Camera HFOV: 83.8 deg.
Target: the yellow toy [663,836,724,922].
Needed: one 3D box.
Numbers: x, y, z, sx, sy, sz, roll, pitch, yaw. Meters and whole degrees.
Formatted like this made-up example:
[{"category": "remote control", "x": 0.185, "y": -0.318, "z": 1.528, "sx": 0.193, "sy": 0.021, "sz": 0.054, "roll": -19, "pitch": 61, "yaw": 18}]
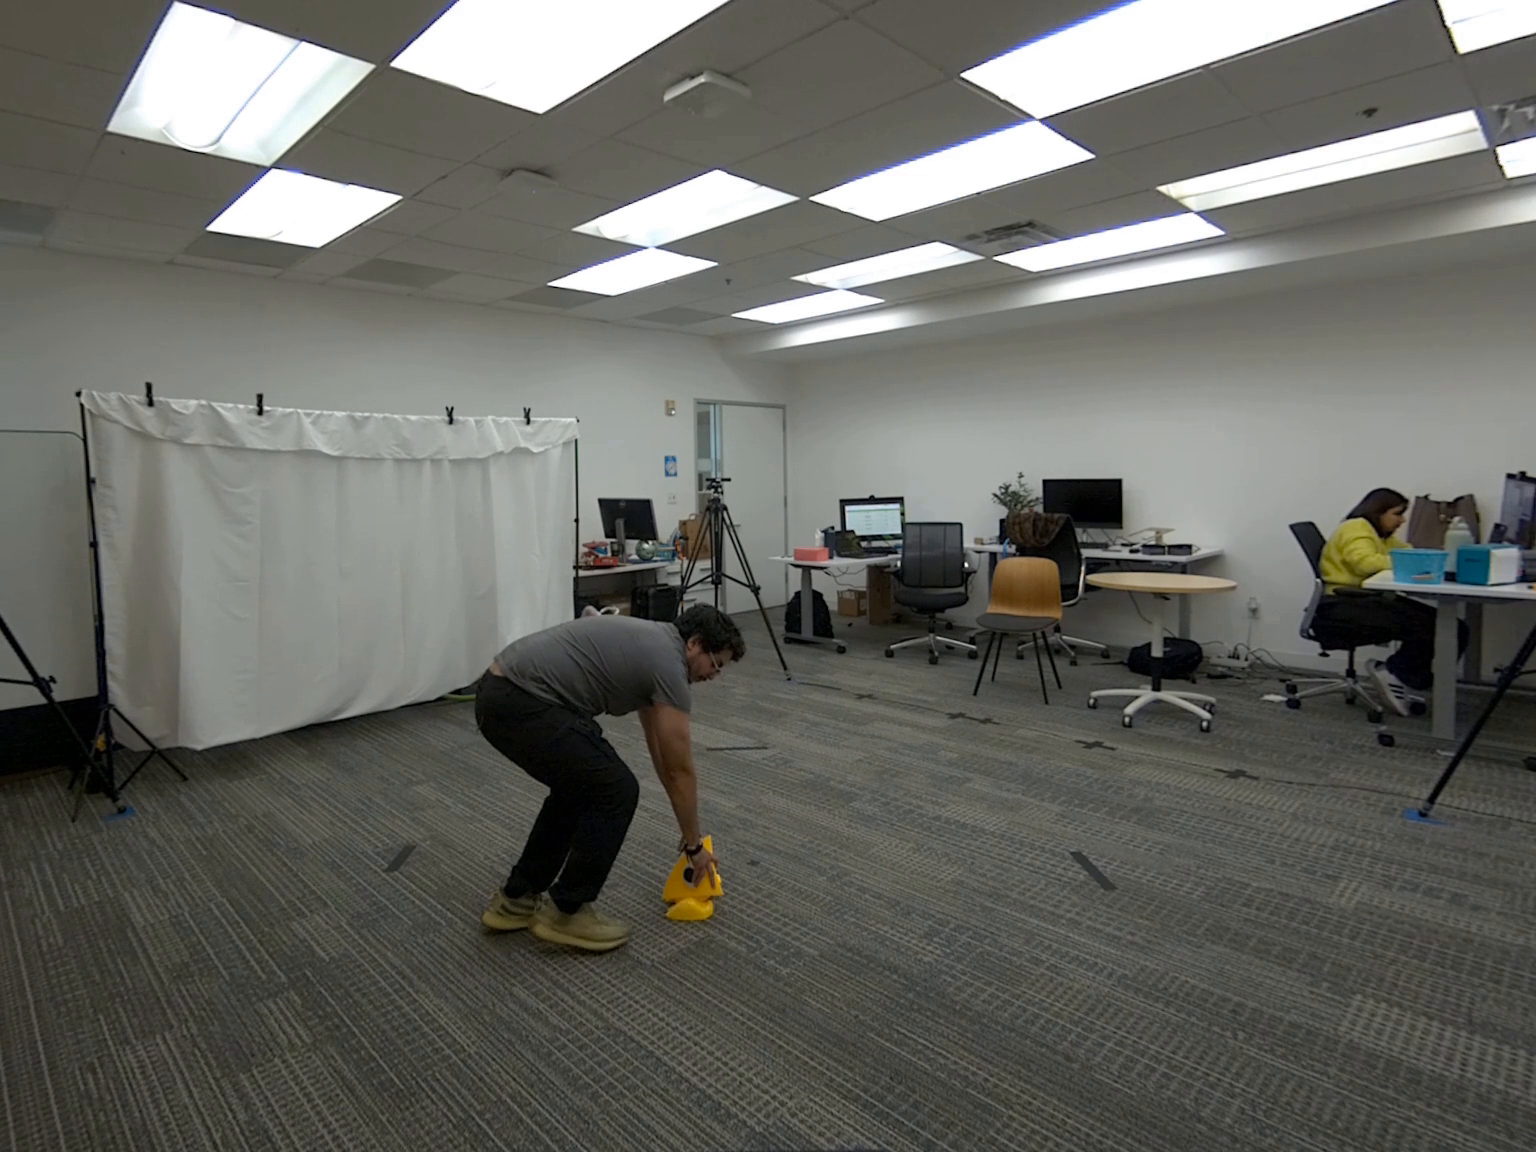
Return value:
[{"category": "yellow toy", "x": -0.246, "y": 0.968, "z": 2.803, "sx": 0.191, "sy": 0.230, "sz": 0.207, "roll": 0, "pitch": 5, "yaw": -11}]
